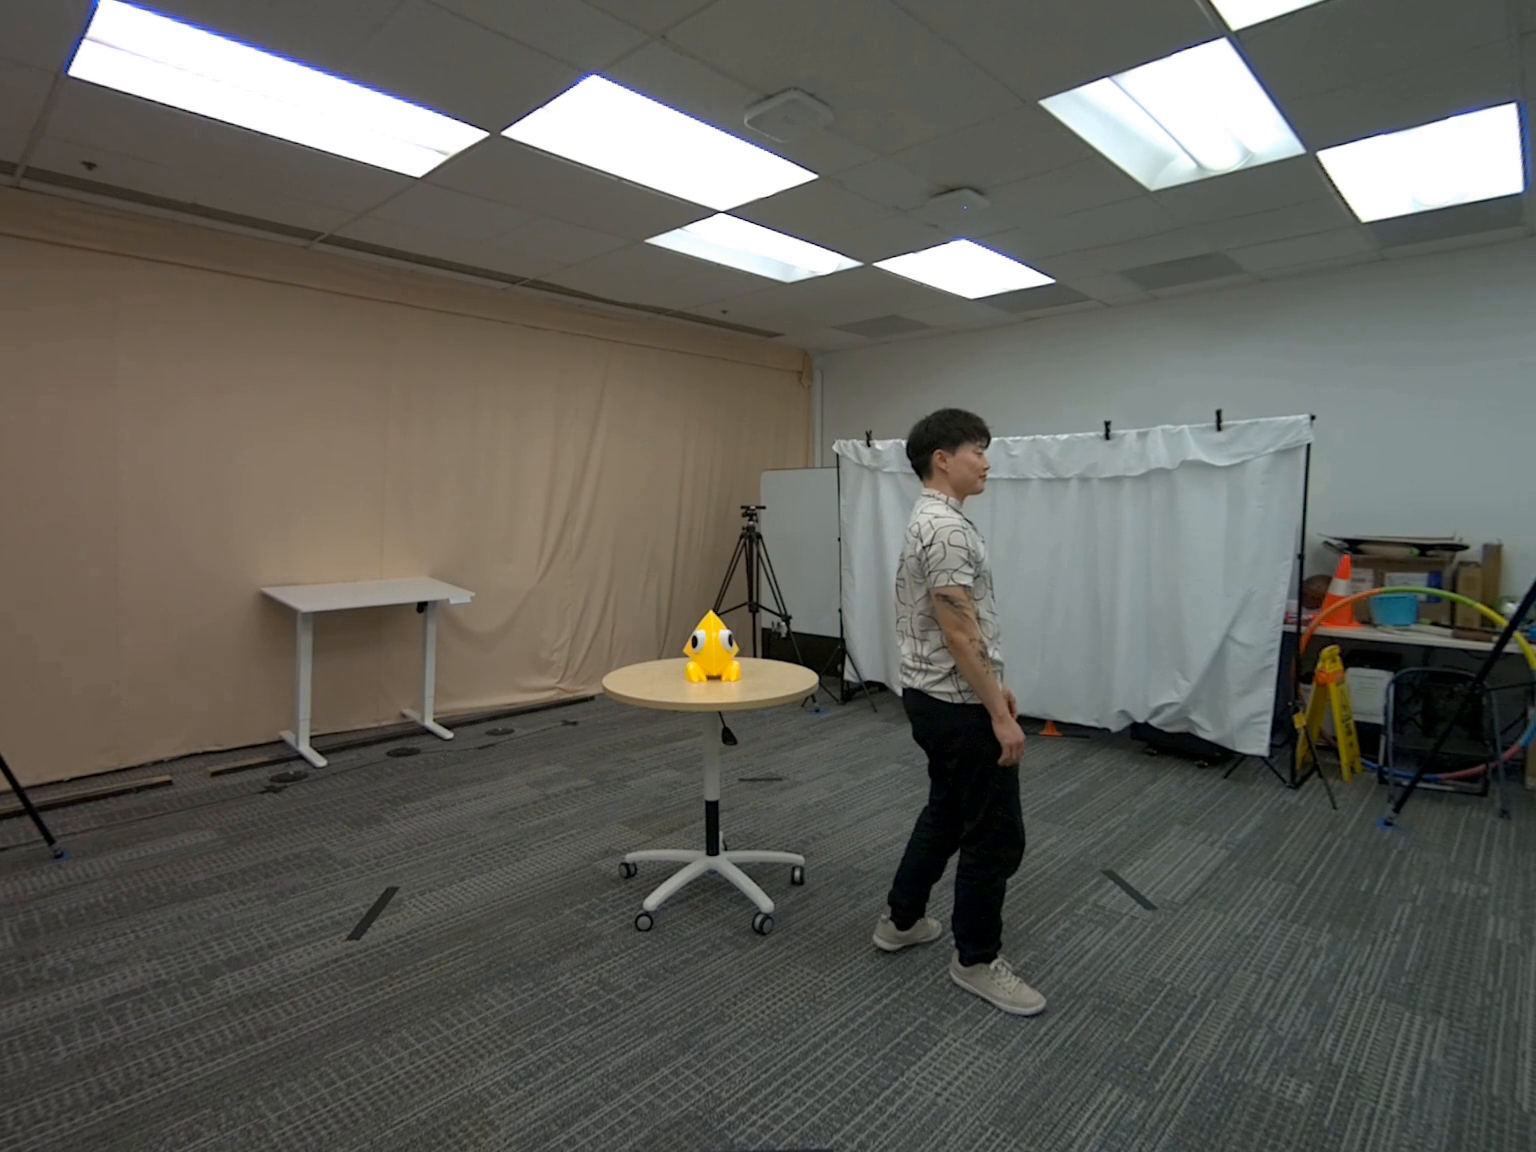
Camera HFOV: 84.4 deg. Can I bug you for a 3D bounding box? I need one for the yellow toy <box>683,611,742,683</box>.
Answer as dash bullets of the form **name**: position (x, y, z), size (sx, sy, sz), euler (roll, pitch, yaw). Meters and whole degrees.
- **yellow toy**: position (-0.194, 0.247, 2.995), size (0.204, 0.230, 0.194), euler (-1, 4, -5)
